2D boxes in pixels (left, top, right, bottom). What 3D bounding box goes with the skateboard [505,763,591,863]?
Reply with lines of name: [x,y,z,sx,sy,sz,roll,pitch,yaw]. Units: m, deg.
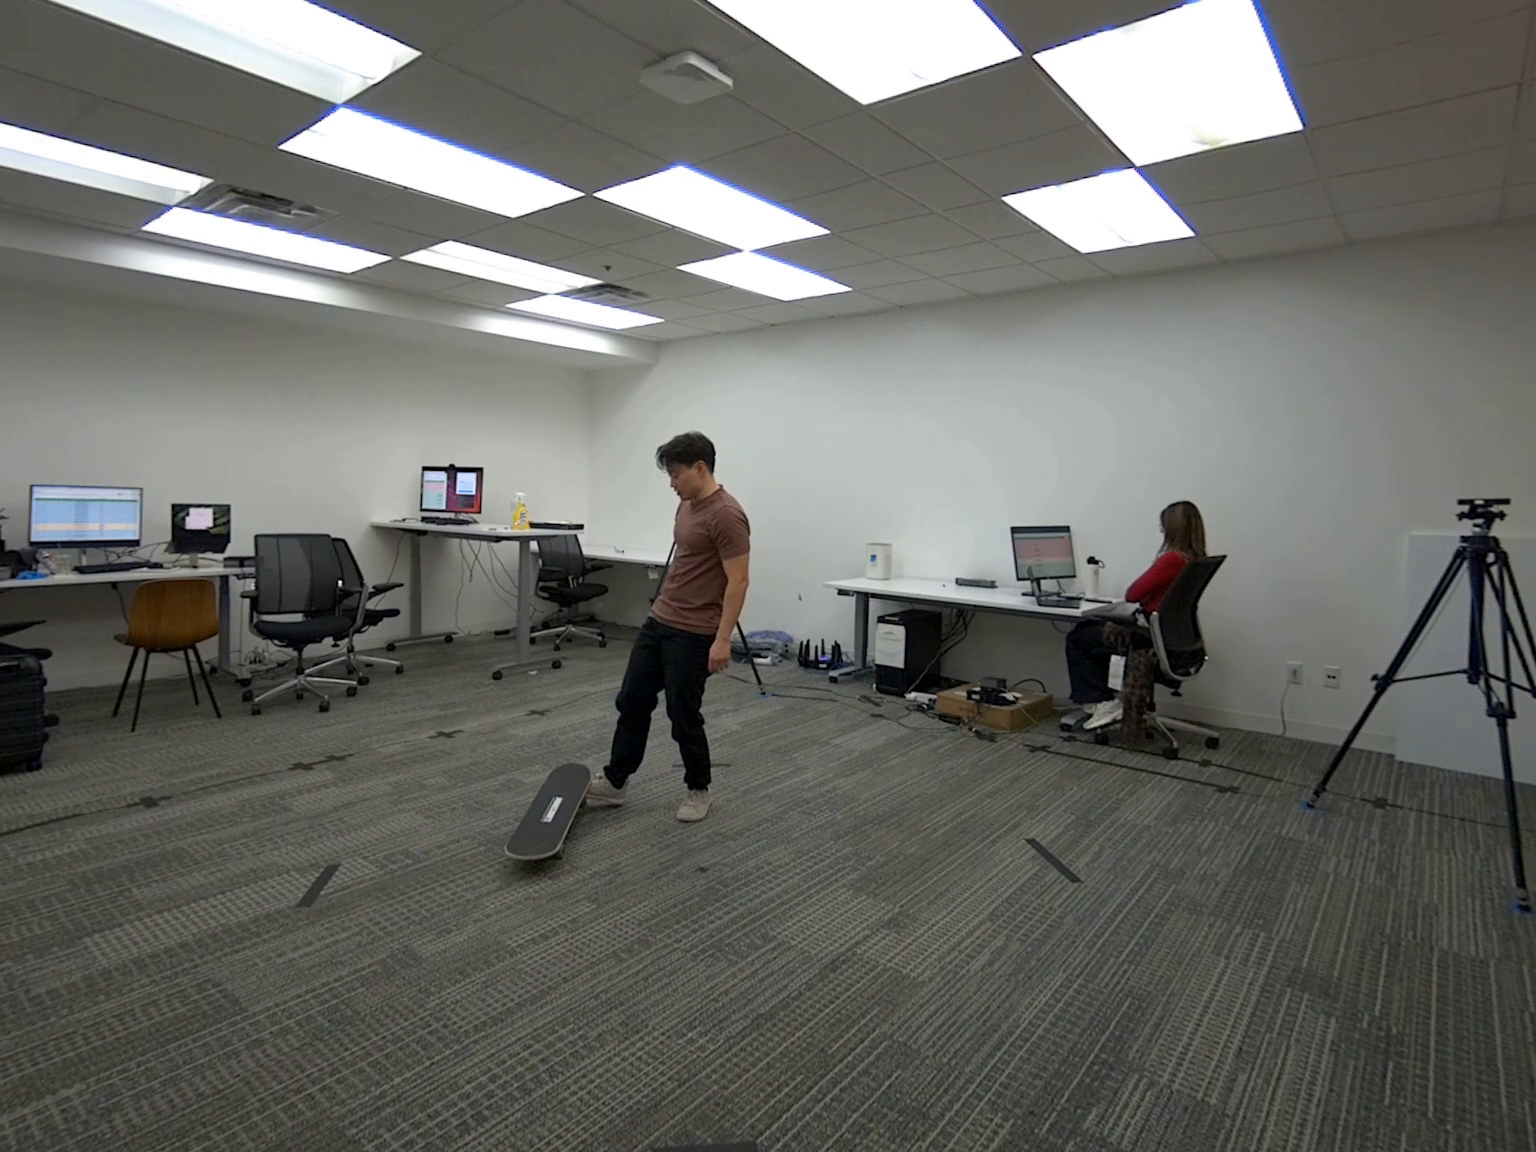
skateboard: [-0.872,0.960,3.380,0.193,0.109,0.792,2,11,-1]
